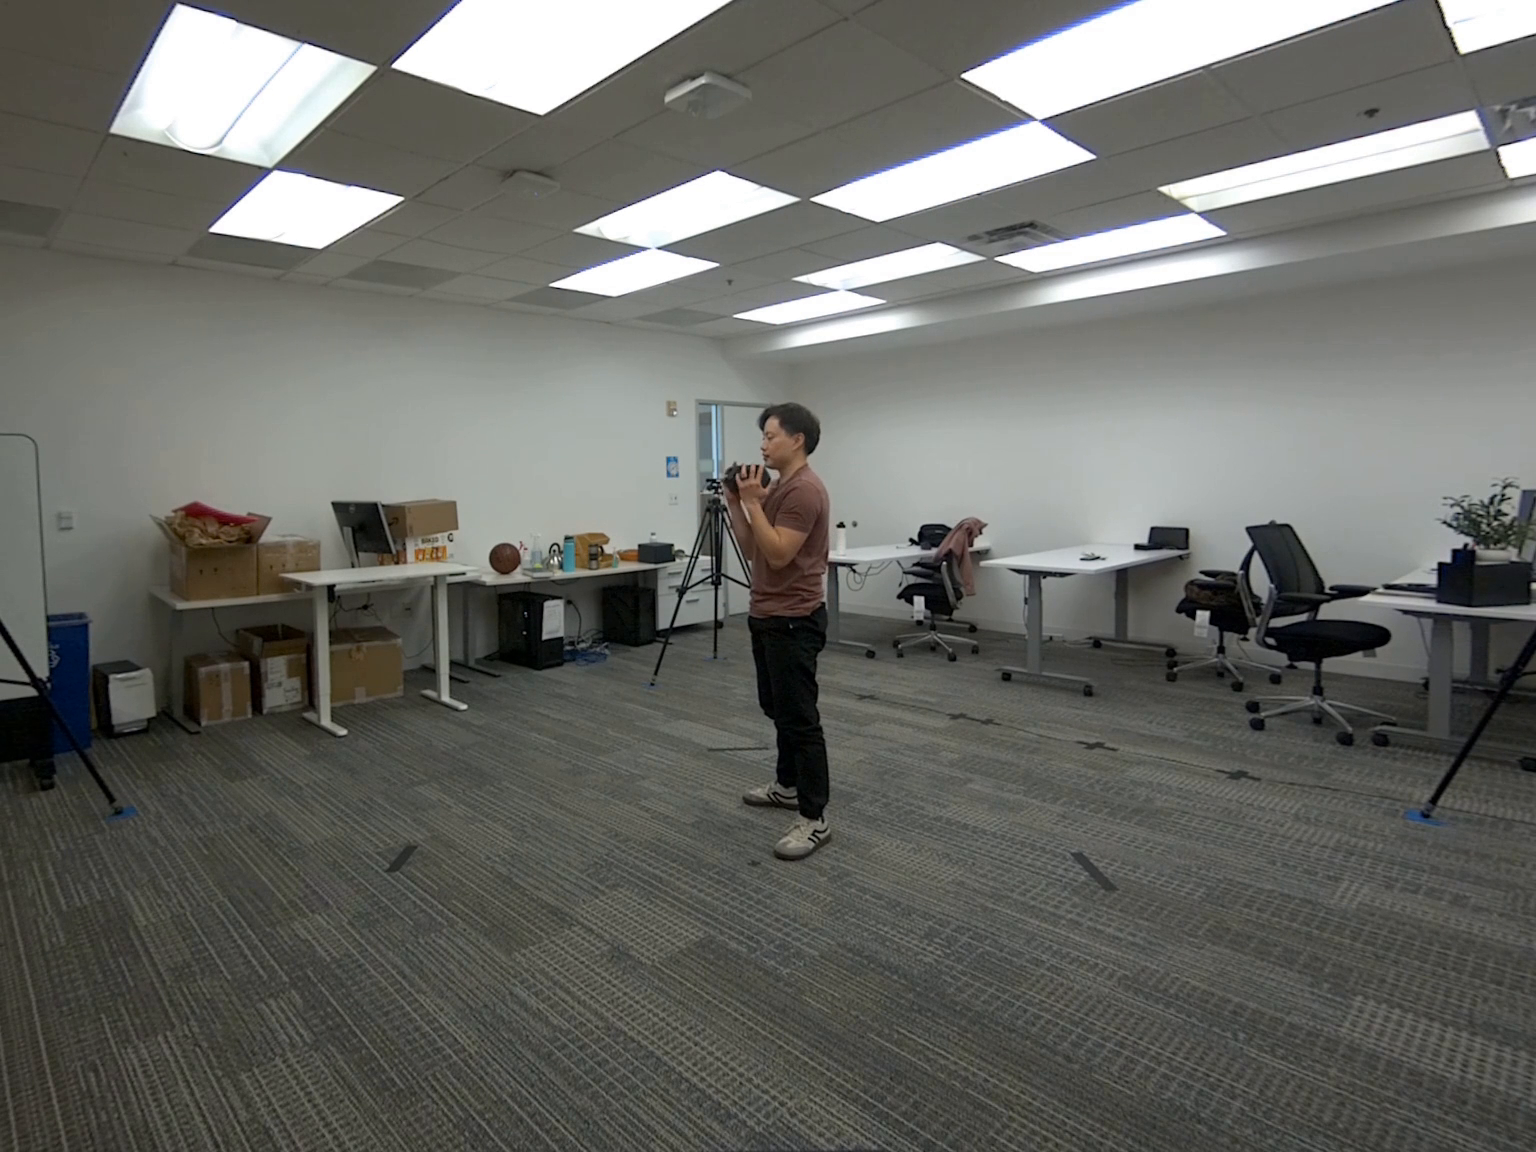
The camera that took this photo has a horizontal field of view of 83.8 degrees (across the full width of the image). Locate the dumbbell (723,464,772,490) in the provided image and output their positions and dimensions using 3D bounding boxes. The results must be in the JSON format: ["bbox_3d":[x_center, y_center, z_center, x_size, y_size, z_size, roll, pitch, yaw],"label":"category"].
[{"bbox_3d":[-0.064,-0.378,3.325,0.108,0.122,0.297,-29,9,-7],"label":"dumbbell"}]
